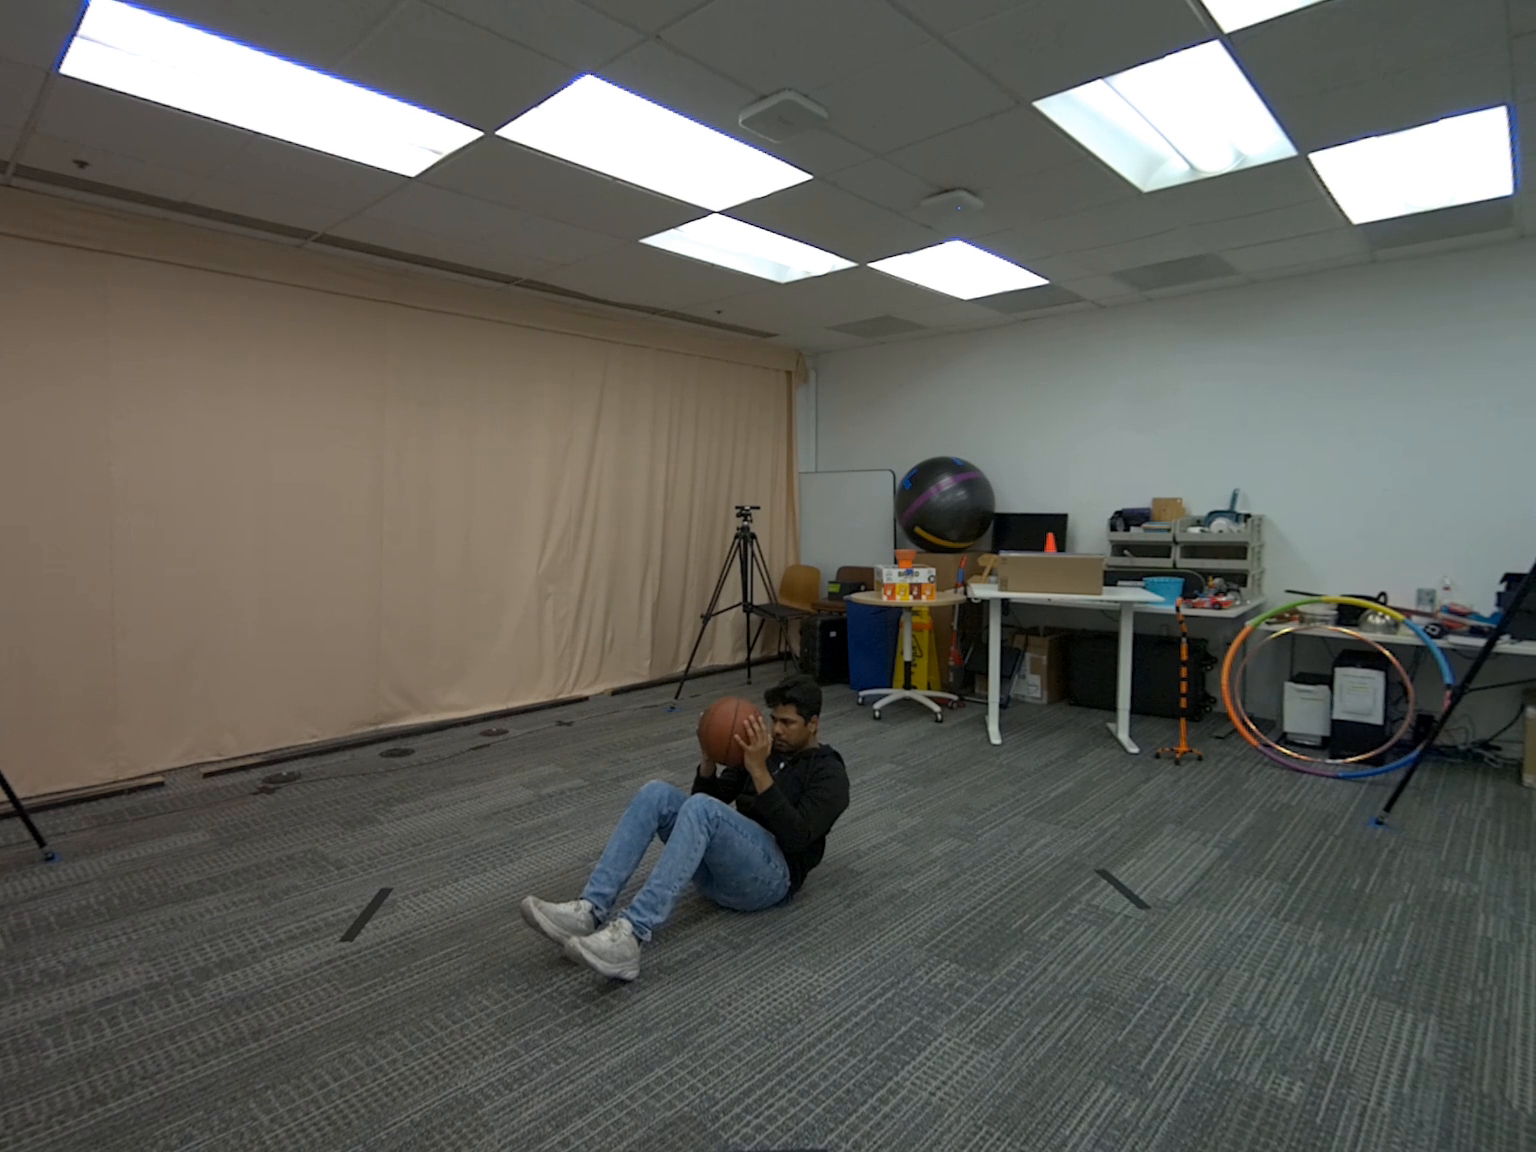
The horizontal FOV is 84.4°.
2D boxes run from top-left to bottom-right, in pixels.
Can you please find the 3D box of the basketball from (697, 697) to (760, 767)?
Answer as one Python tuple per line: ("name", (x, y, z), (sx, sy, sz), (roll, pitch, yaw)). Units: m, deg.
("basketball", (-0.111, 0.537, 2.929), (0.236, 0.235, 0.237), (0, 4, -2))
